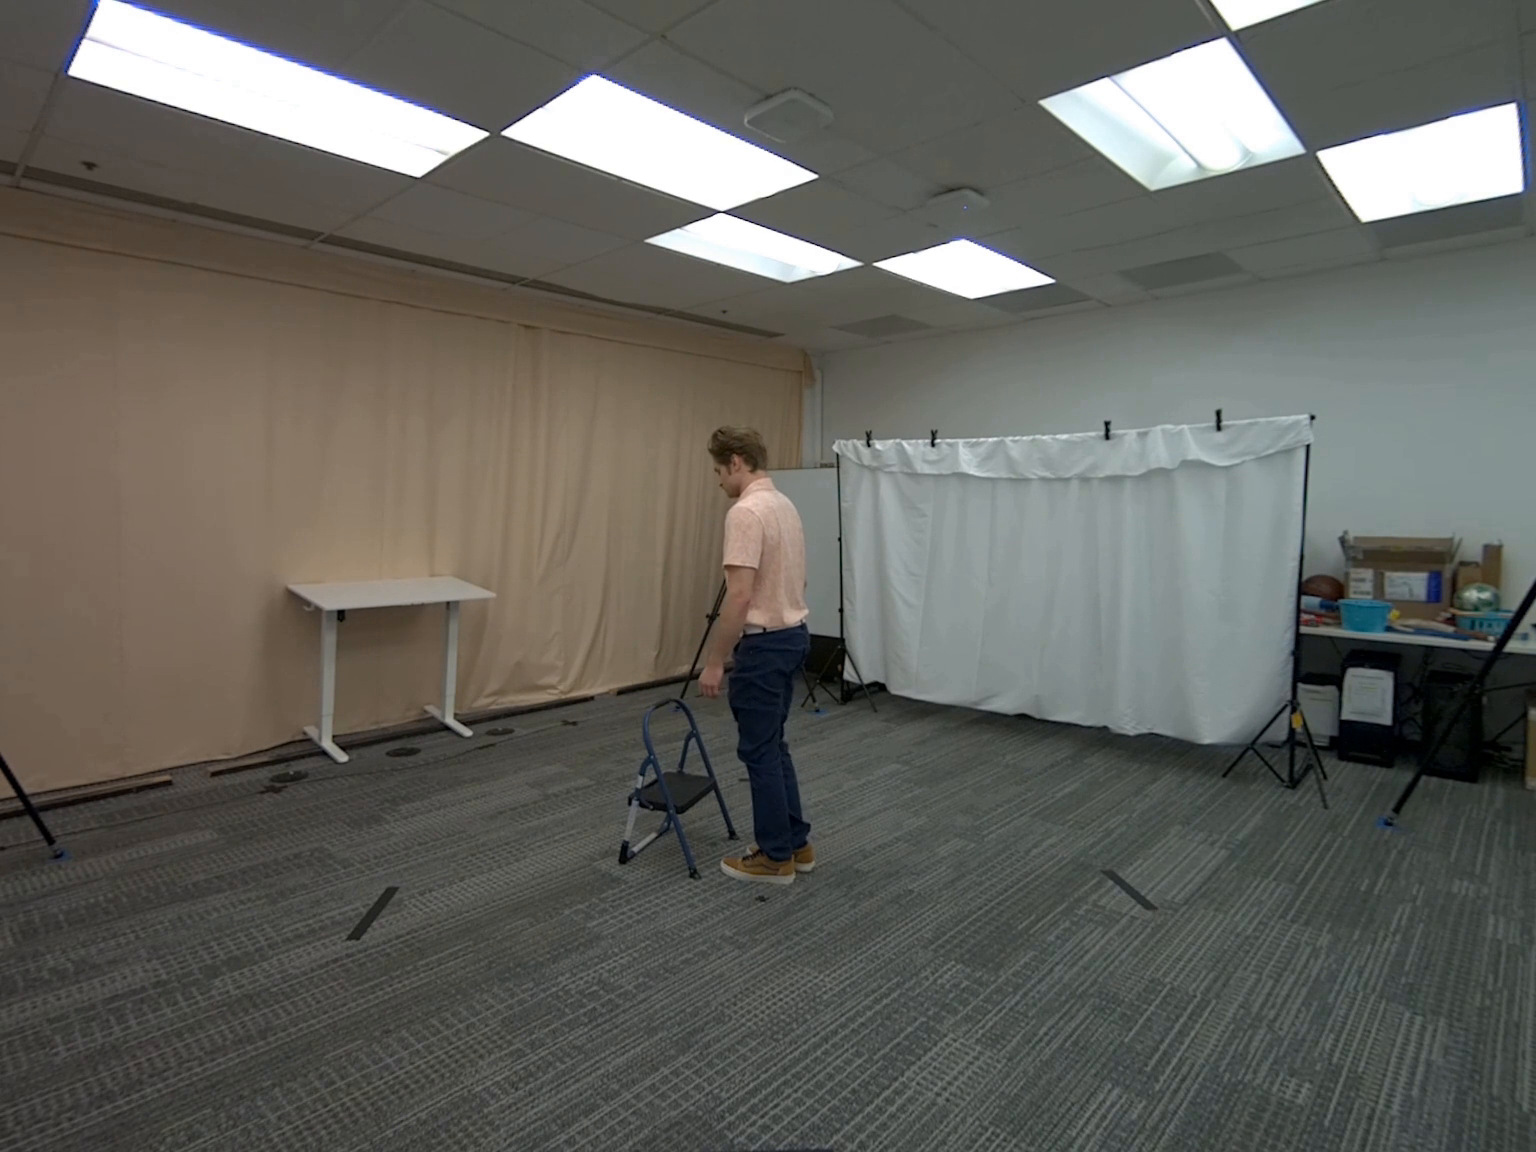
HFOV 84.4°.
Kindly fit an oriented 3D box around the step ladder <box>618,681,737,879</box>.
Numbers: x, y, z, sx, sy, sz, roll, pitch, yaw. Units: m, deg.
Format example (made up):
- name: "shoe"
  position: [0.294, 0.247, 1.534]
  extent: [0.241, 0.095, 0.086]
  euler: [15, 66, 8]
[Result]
- name: "step ladder"
  position: [-0.359, 0.810, 3.393]
  extent: [0.357, 0.605, 0.422]
  euler: [0, 3, 21]
